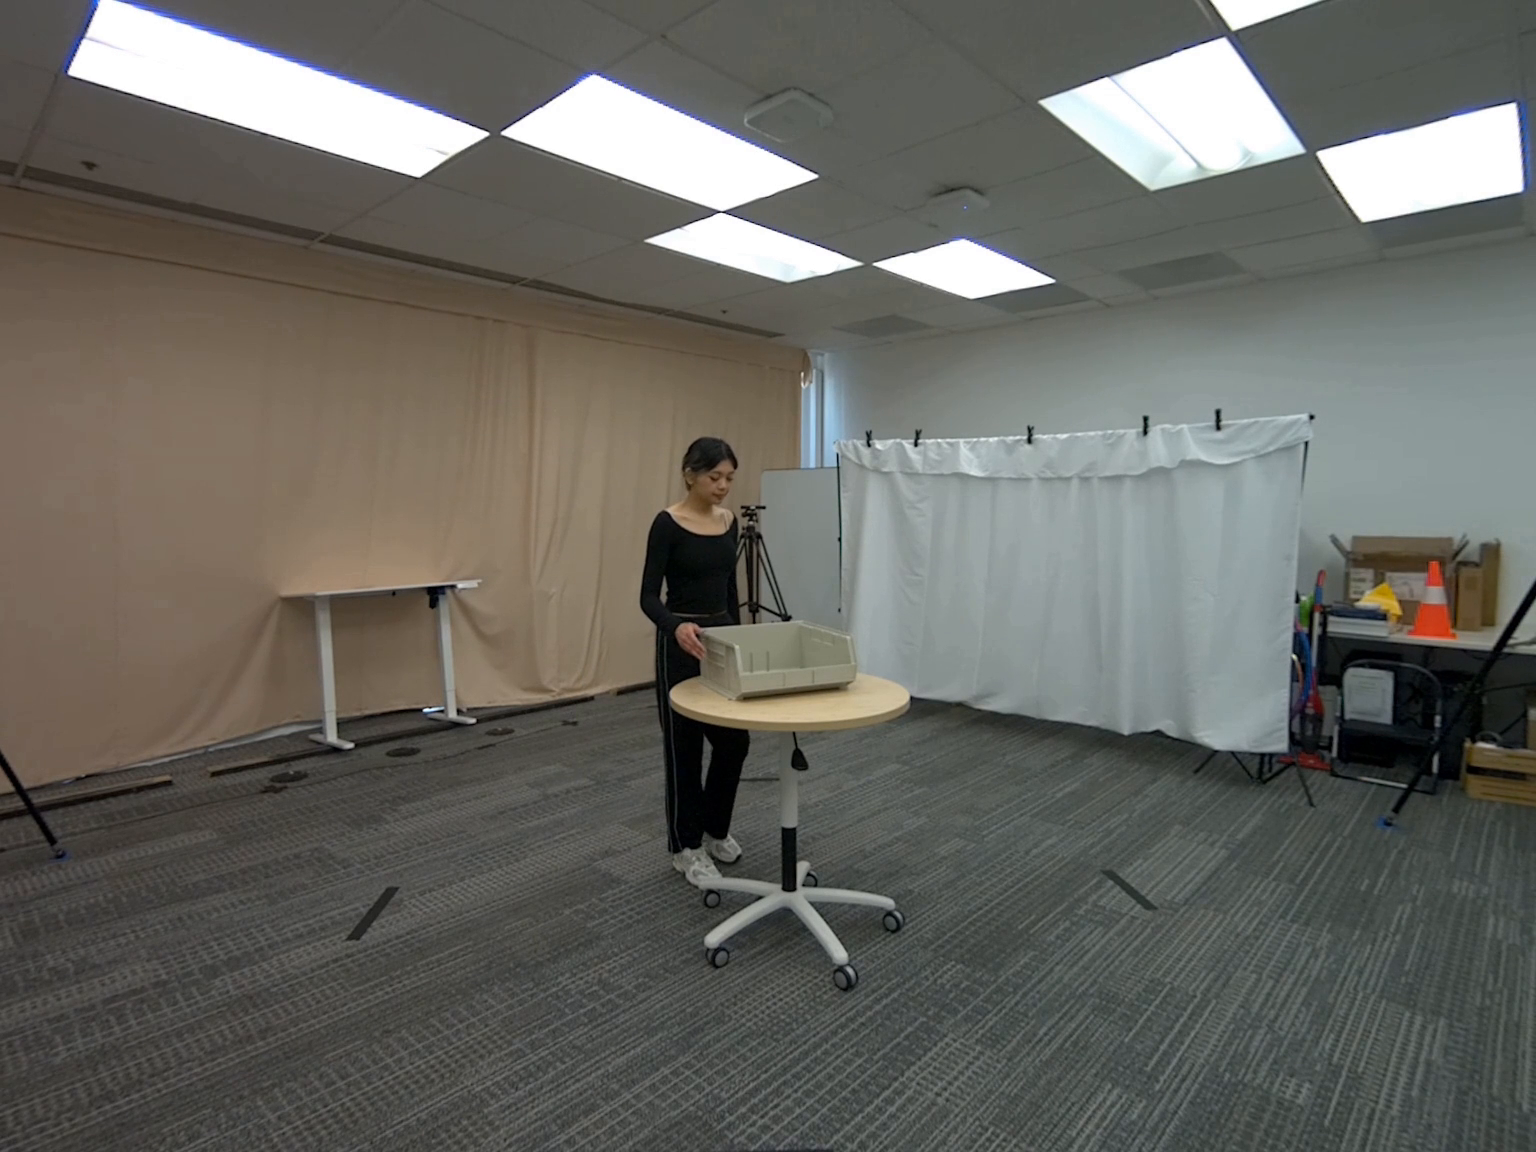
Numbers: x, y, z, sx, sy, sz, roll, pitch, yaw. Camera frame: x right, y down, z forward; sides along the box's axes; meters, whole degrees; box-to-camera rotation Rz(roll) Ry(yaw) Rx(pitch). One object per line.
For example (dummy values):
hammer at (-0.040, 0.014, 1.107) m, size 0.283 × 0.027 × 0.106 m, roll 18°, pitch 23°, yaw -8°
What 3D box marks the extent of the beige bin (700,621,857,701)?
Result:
beige bin at (0.024, 0.275, 2.787) m, size 0.413 × 0.188 × 0.387 m, roll -3°, pitch 5°, yaw -24°
